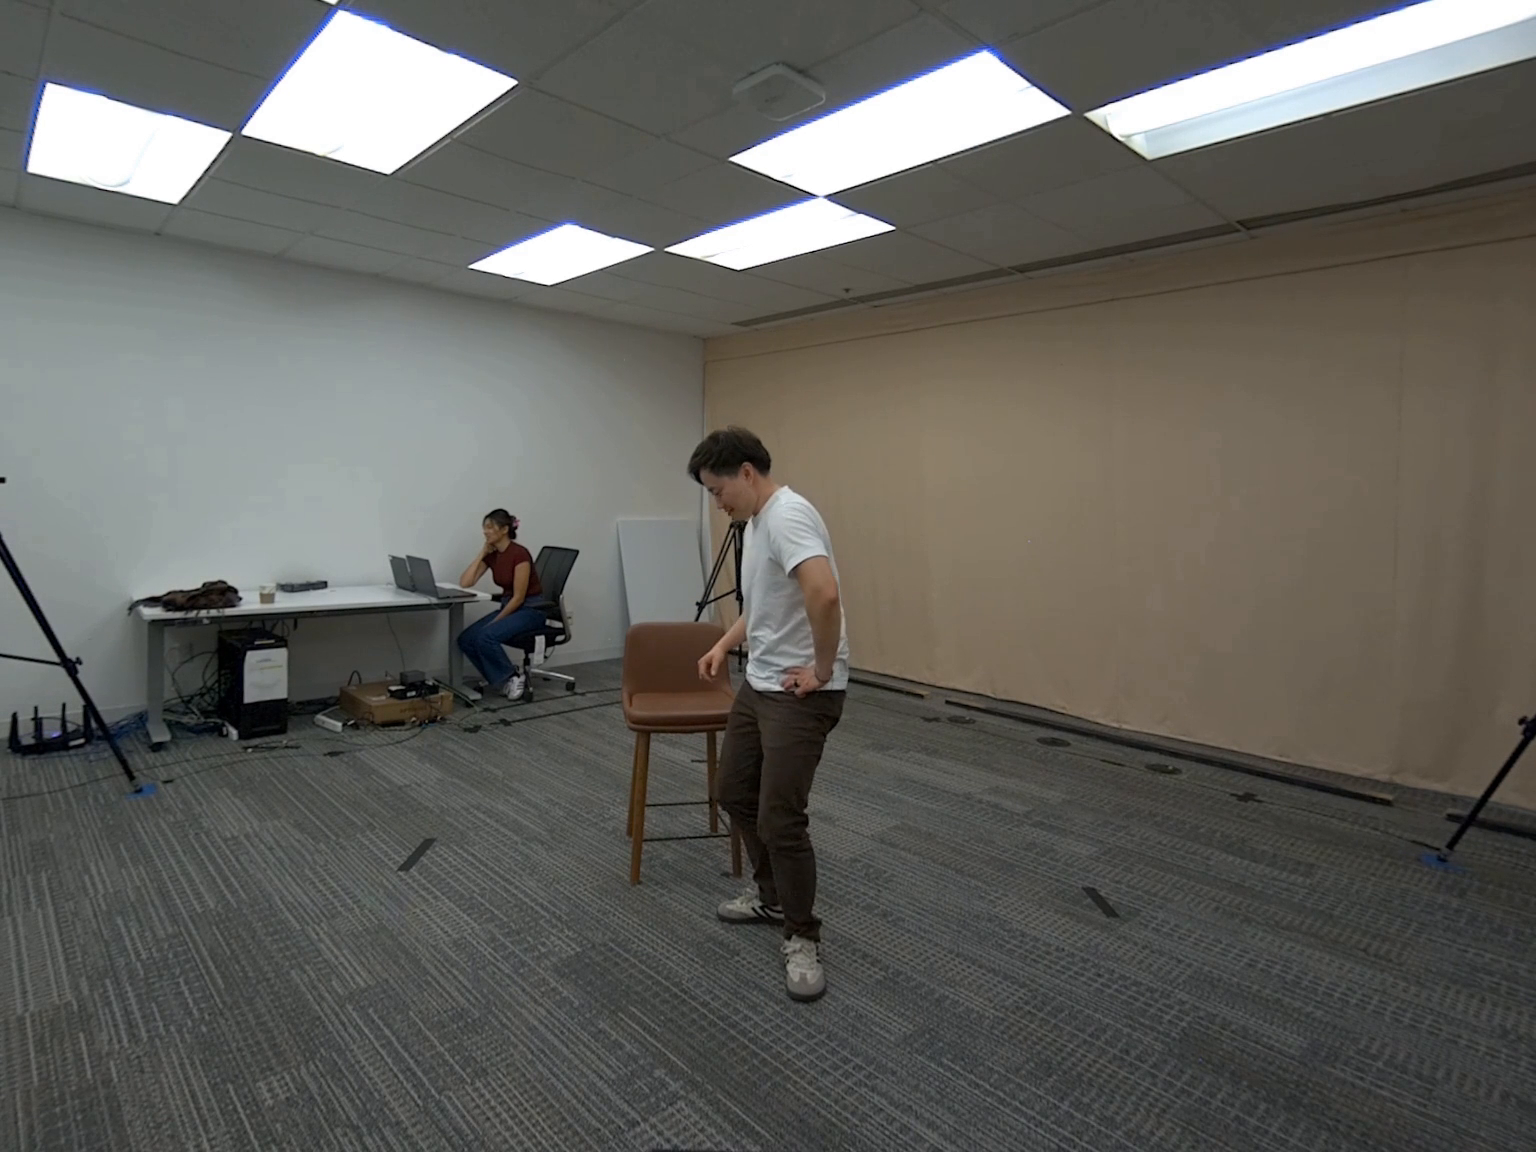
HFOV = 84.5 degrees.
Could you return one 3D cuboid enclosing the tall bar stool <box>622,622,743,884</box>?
[{"bbox_3d":[-0.343,0.651,3.244,0.452,0.888,0.473,1,2,-13],"label":"tall bar stool"}]
